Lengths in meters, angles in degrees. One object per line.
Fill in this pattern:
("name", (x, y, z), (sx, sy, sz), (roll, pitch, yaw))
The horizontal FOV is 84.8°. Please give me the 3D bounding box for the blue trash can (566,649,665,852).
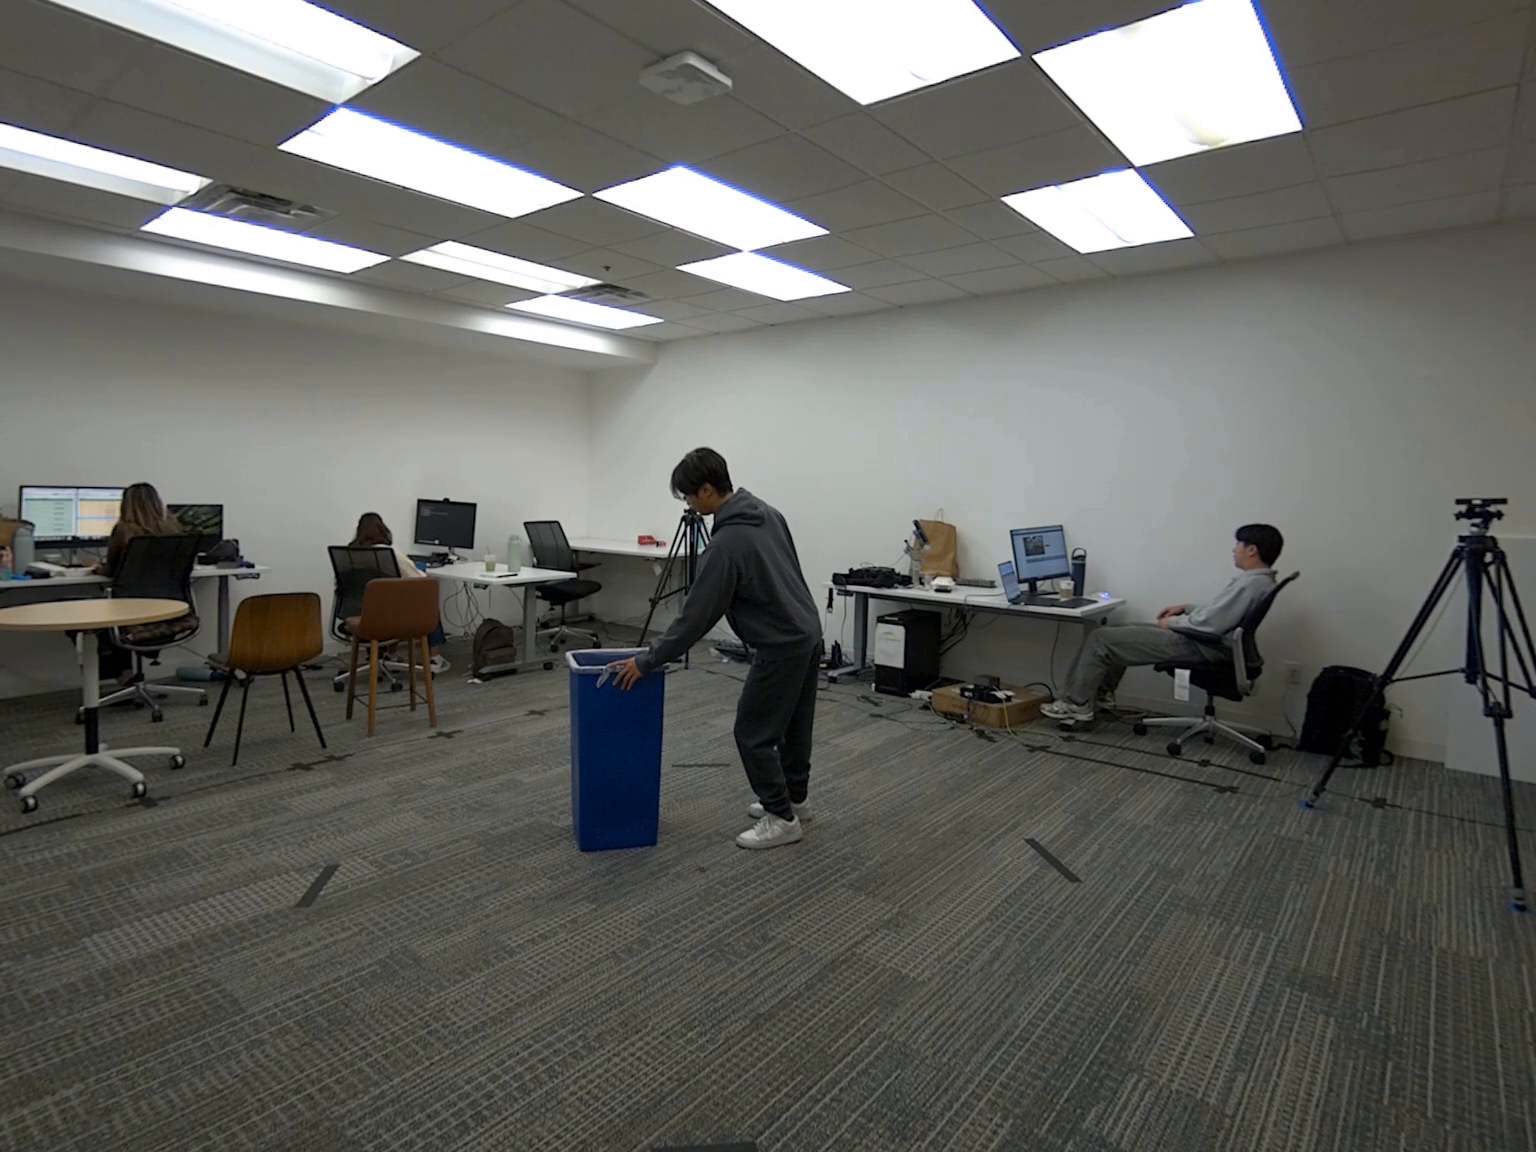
("blue trash can", (-0.632, 0.682, 3.409), (0.372, 0.711, 0.381), (0, 3, -17))
